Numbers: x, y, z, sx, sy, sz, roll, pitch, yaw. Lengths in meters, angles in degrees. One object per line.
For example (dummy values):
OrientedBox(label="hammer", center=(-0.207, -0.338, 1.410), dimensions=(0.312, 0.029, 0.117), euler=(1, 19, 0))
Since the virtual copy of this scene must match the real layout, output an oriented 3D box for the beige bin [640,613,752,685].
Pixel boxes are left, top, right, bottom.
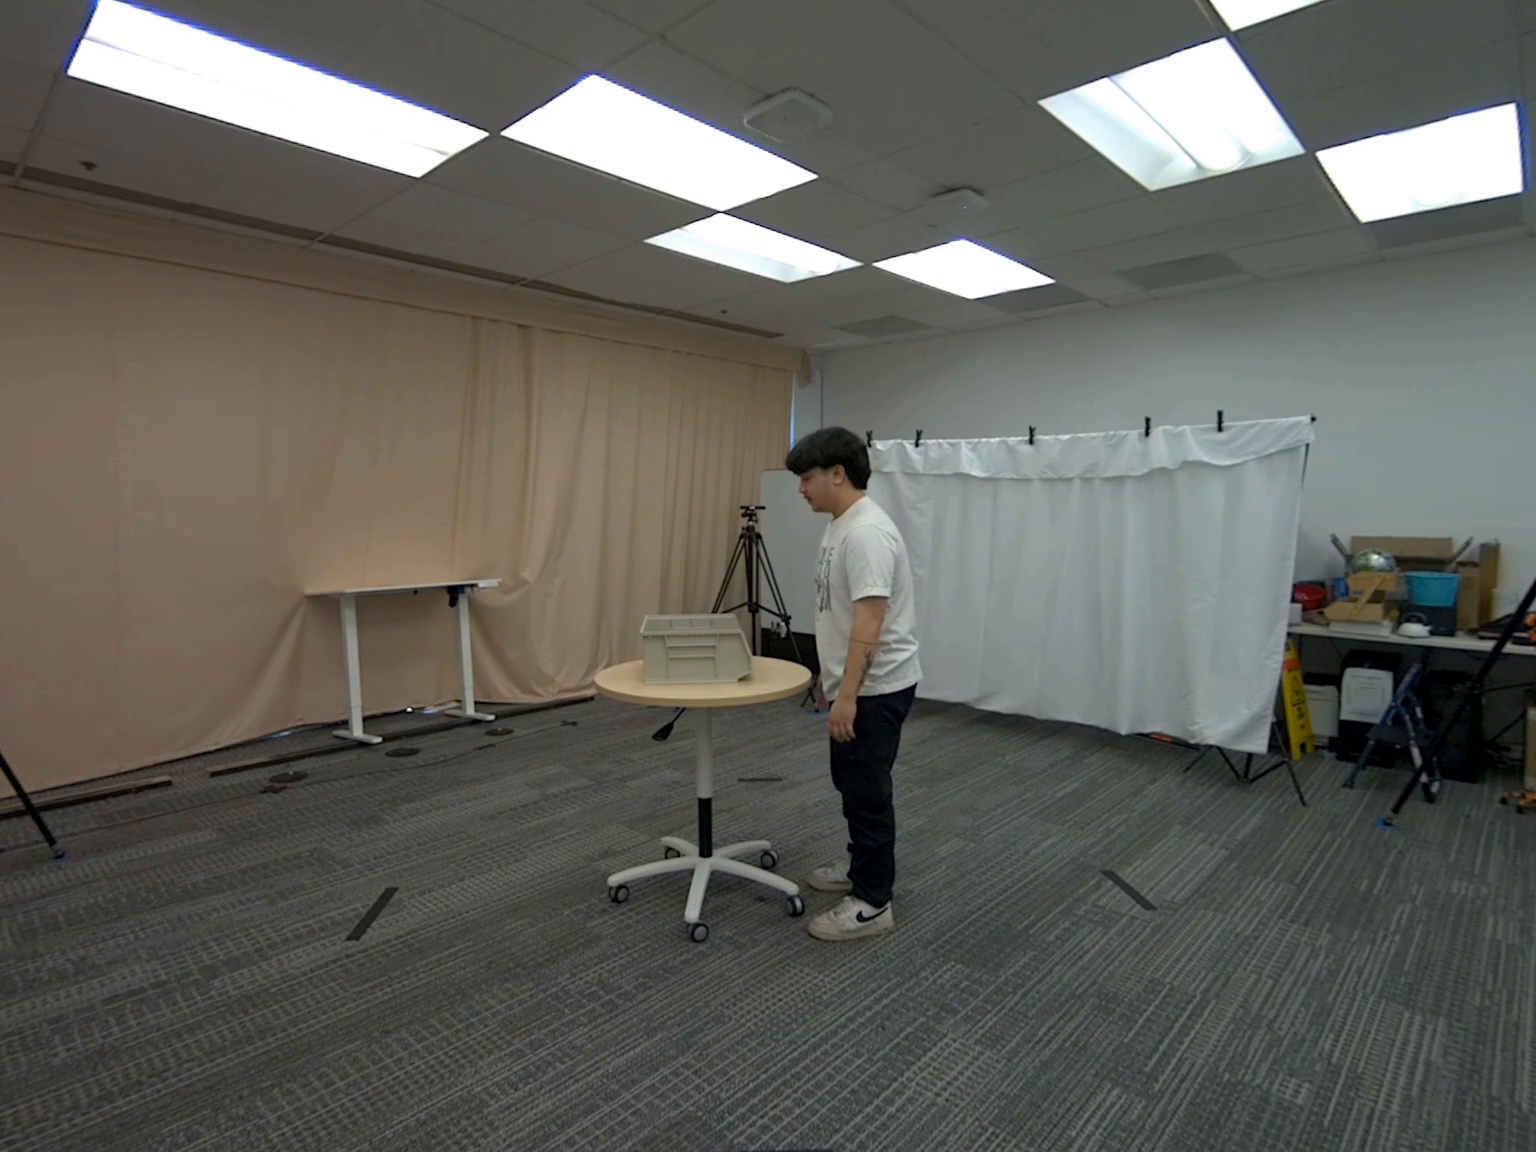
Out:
OrientedBox(label="beige bin", center=(-0.242, 0.262, 3.028), dimensions=(0.376, 0.188, 0.425), euler=(-2, 5, -3))
